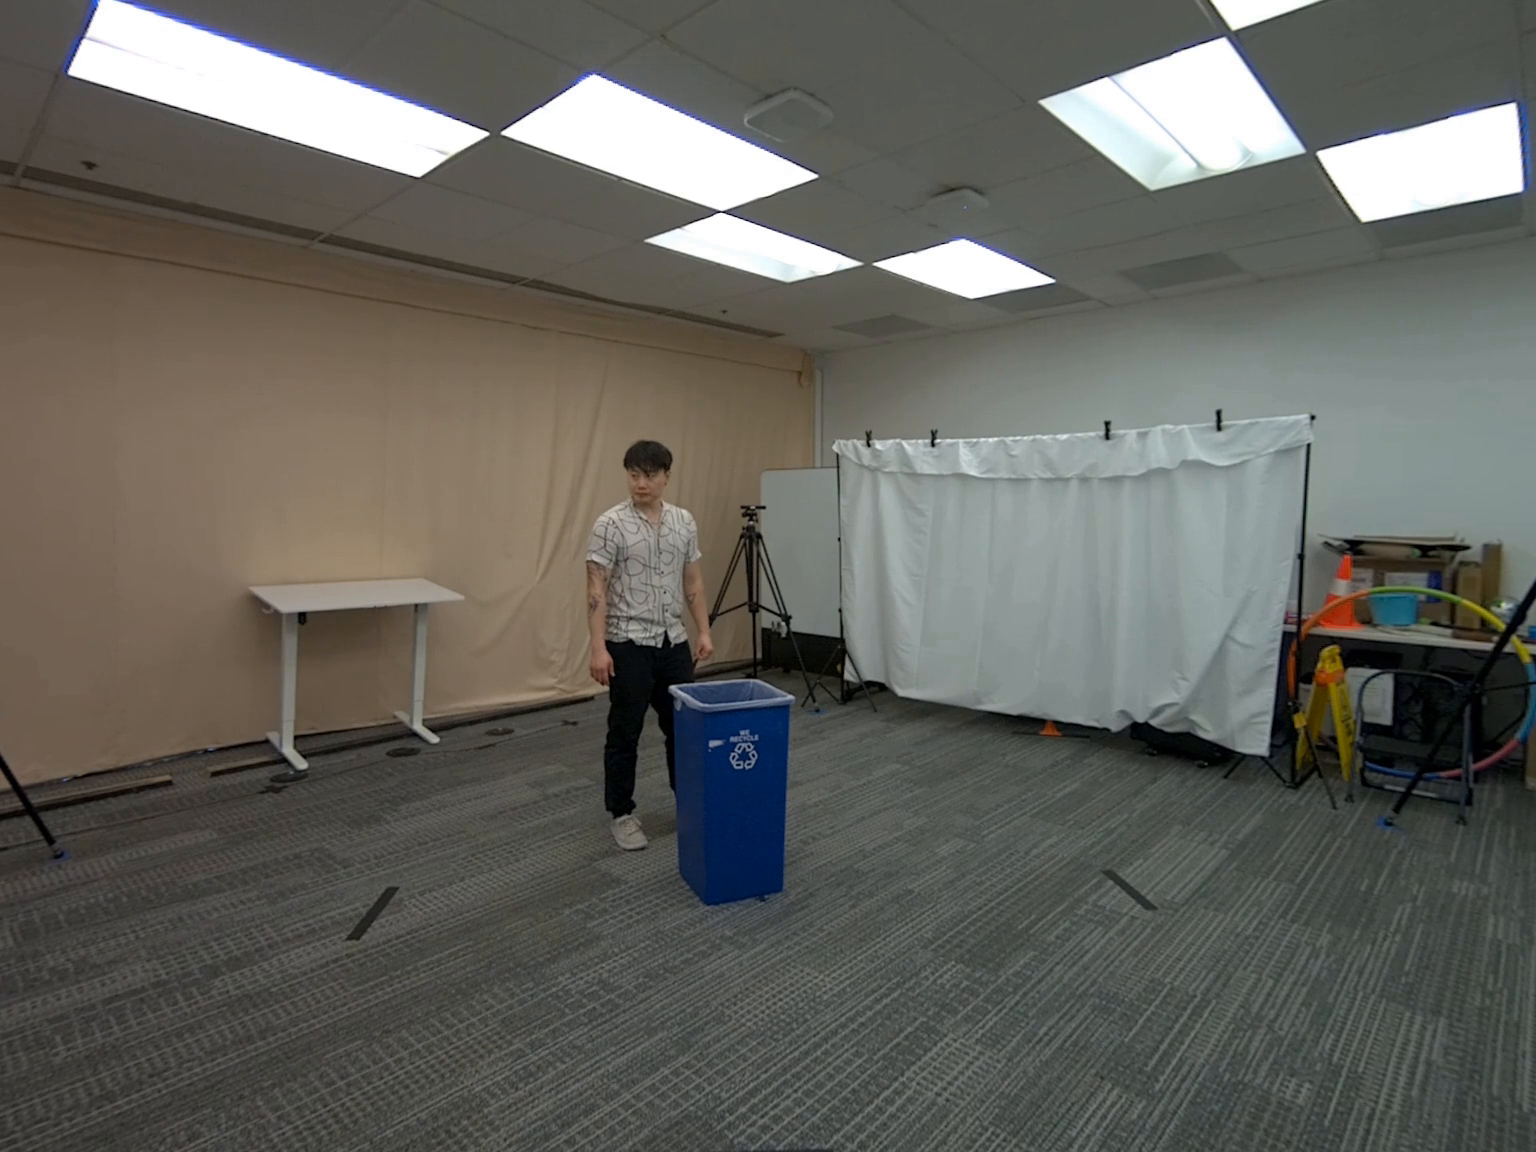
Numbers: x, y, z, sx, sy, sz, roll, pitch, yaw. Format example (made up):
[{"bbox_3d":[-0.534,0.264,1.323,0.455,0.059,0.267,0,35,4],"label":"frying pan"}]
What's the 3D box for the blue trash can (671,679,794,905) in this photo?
[{"bbox_3d":[-0.130,0.777,3.097,0.369,0.712,0.384,-1,3,-26],"label":"blue trash can"}]
